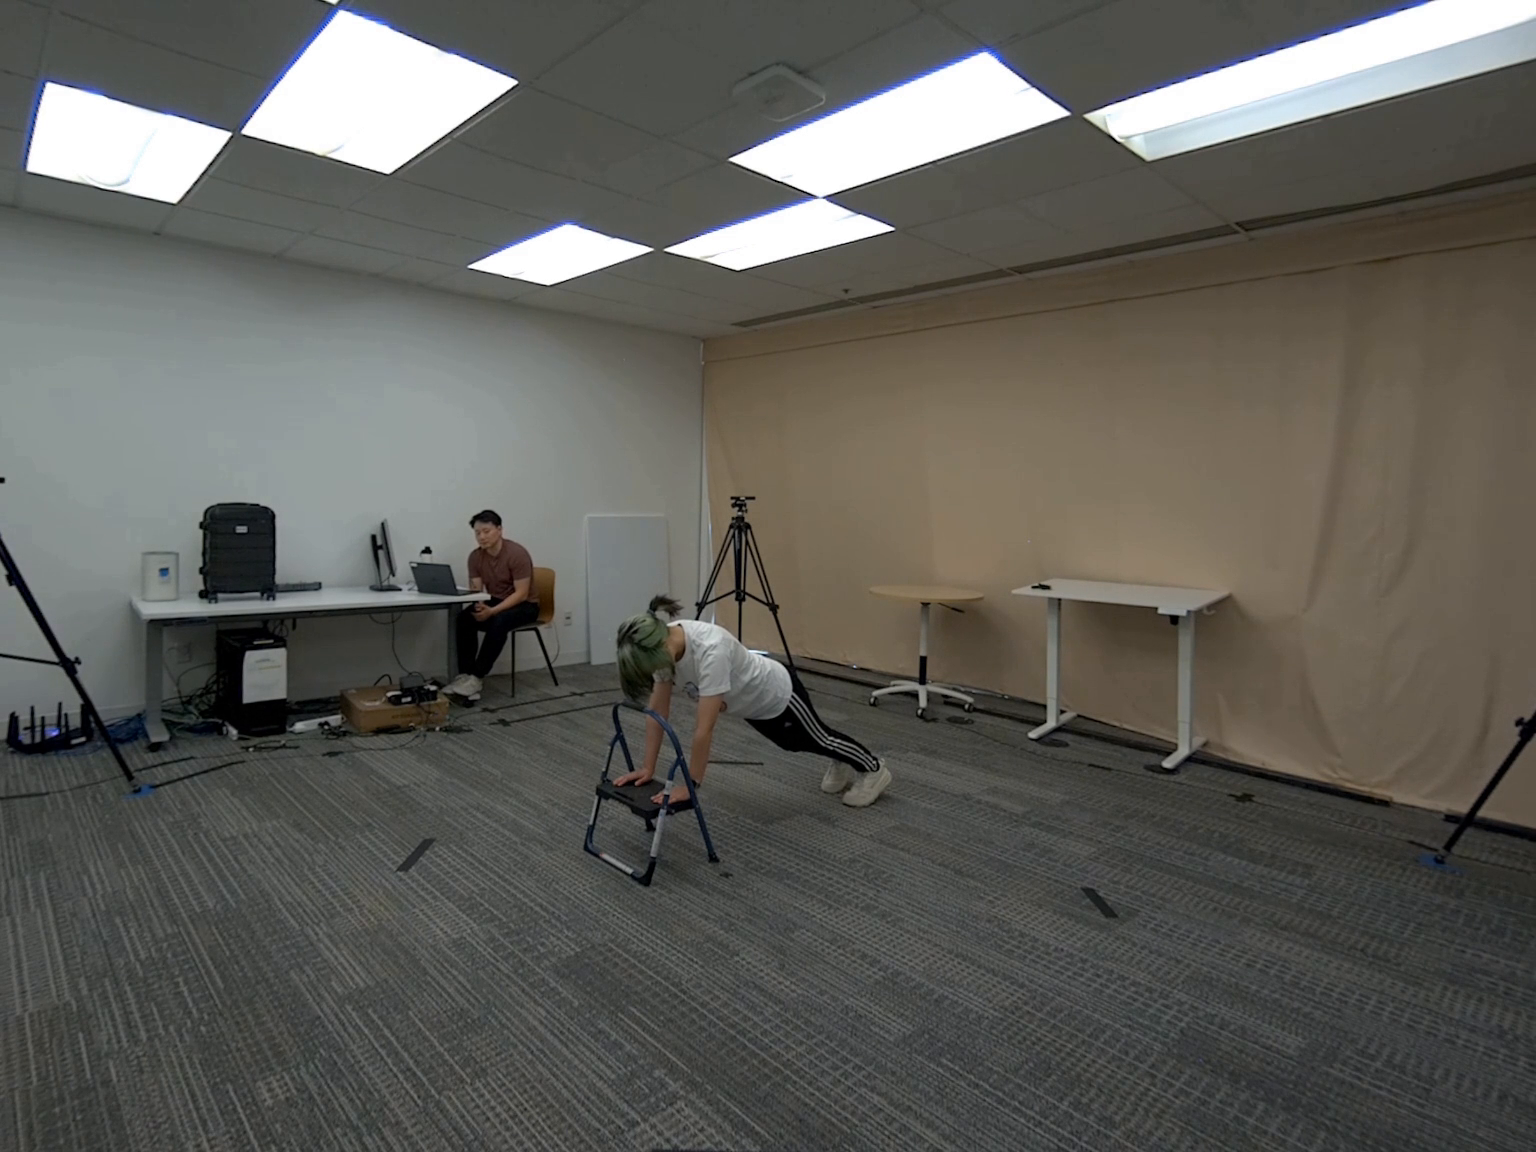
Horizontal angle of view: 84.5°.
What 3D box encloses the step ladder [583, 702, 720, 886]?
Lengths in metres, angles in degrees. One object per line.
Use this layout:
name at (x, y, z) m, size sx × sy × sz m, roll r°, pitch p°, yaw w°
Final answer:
step ladder at (-0.458, 0.783, 3.242) m, size 0.341 × 0.604 × 0.442 m, roll -2°, pitch 5°, yaw -44°
